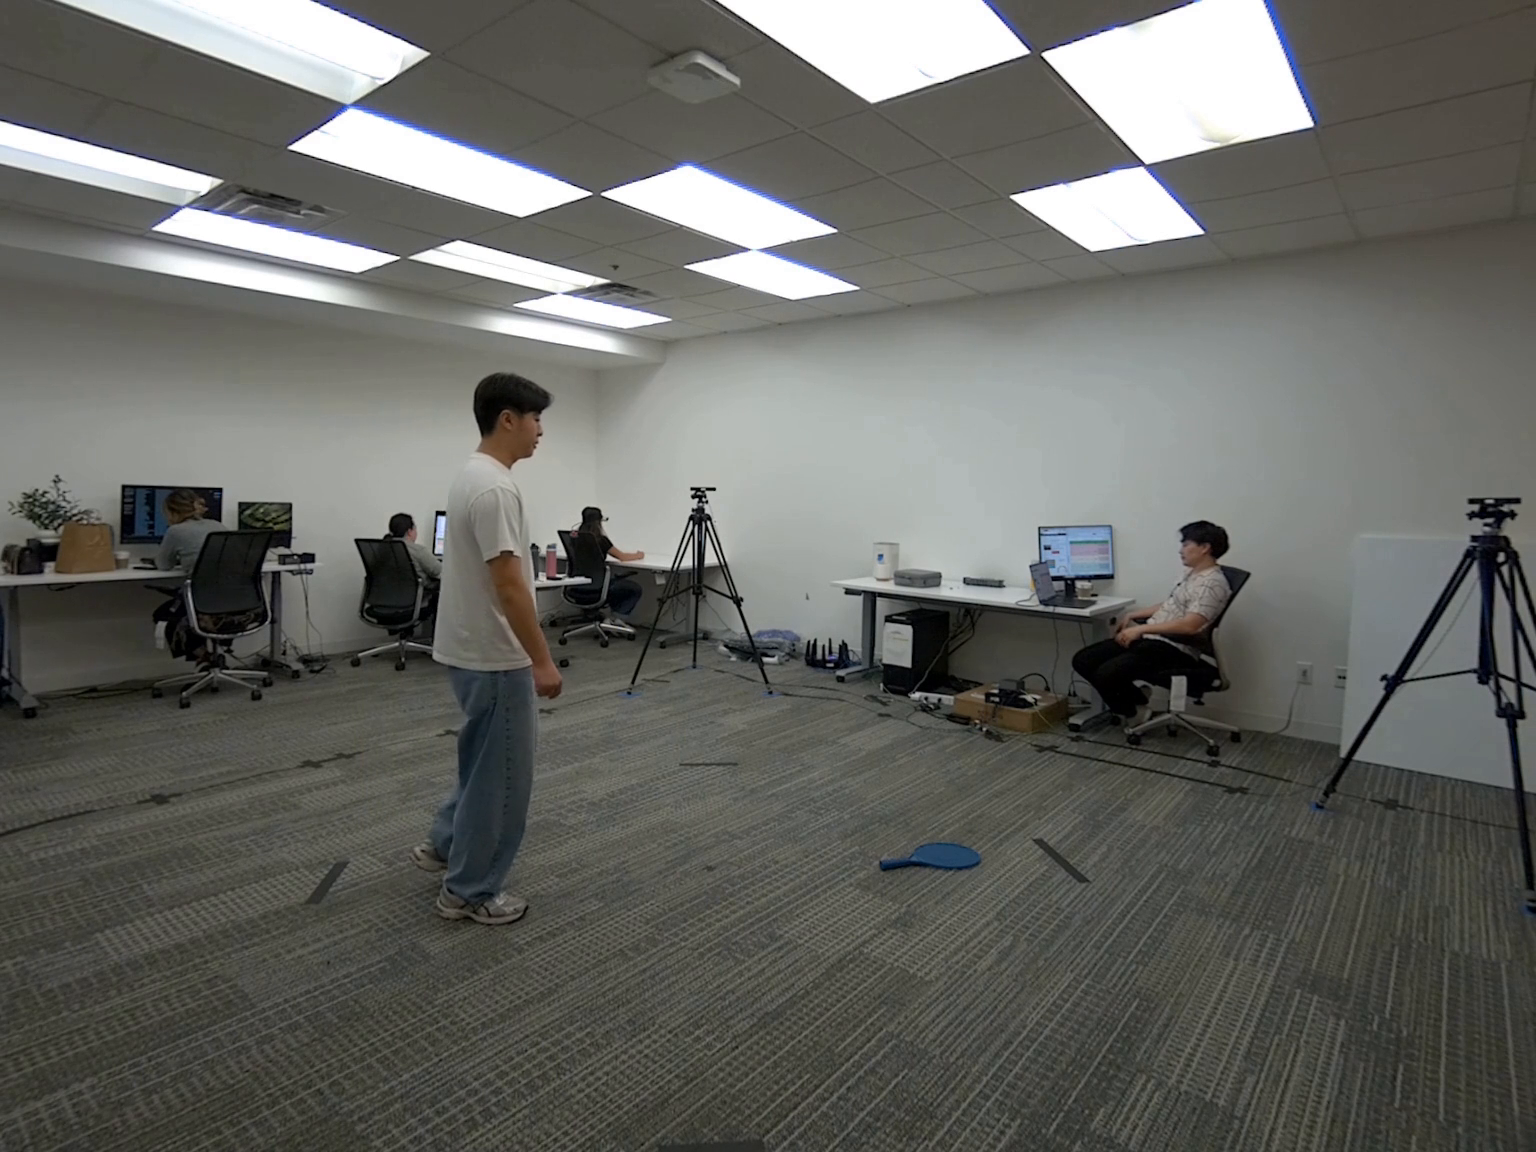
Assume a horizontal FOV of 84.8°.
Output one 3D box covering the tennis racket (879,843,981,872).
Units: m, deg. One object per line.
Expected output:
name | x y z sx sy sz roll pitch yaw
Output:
tennis racket | 0.600 1.056 3.222 0.423 0.031 0.219 0 5 -24
